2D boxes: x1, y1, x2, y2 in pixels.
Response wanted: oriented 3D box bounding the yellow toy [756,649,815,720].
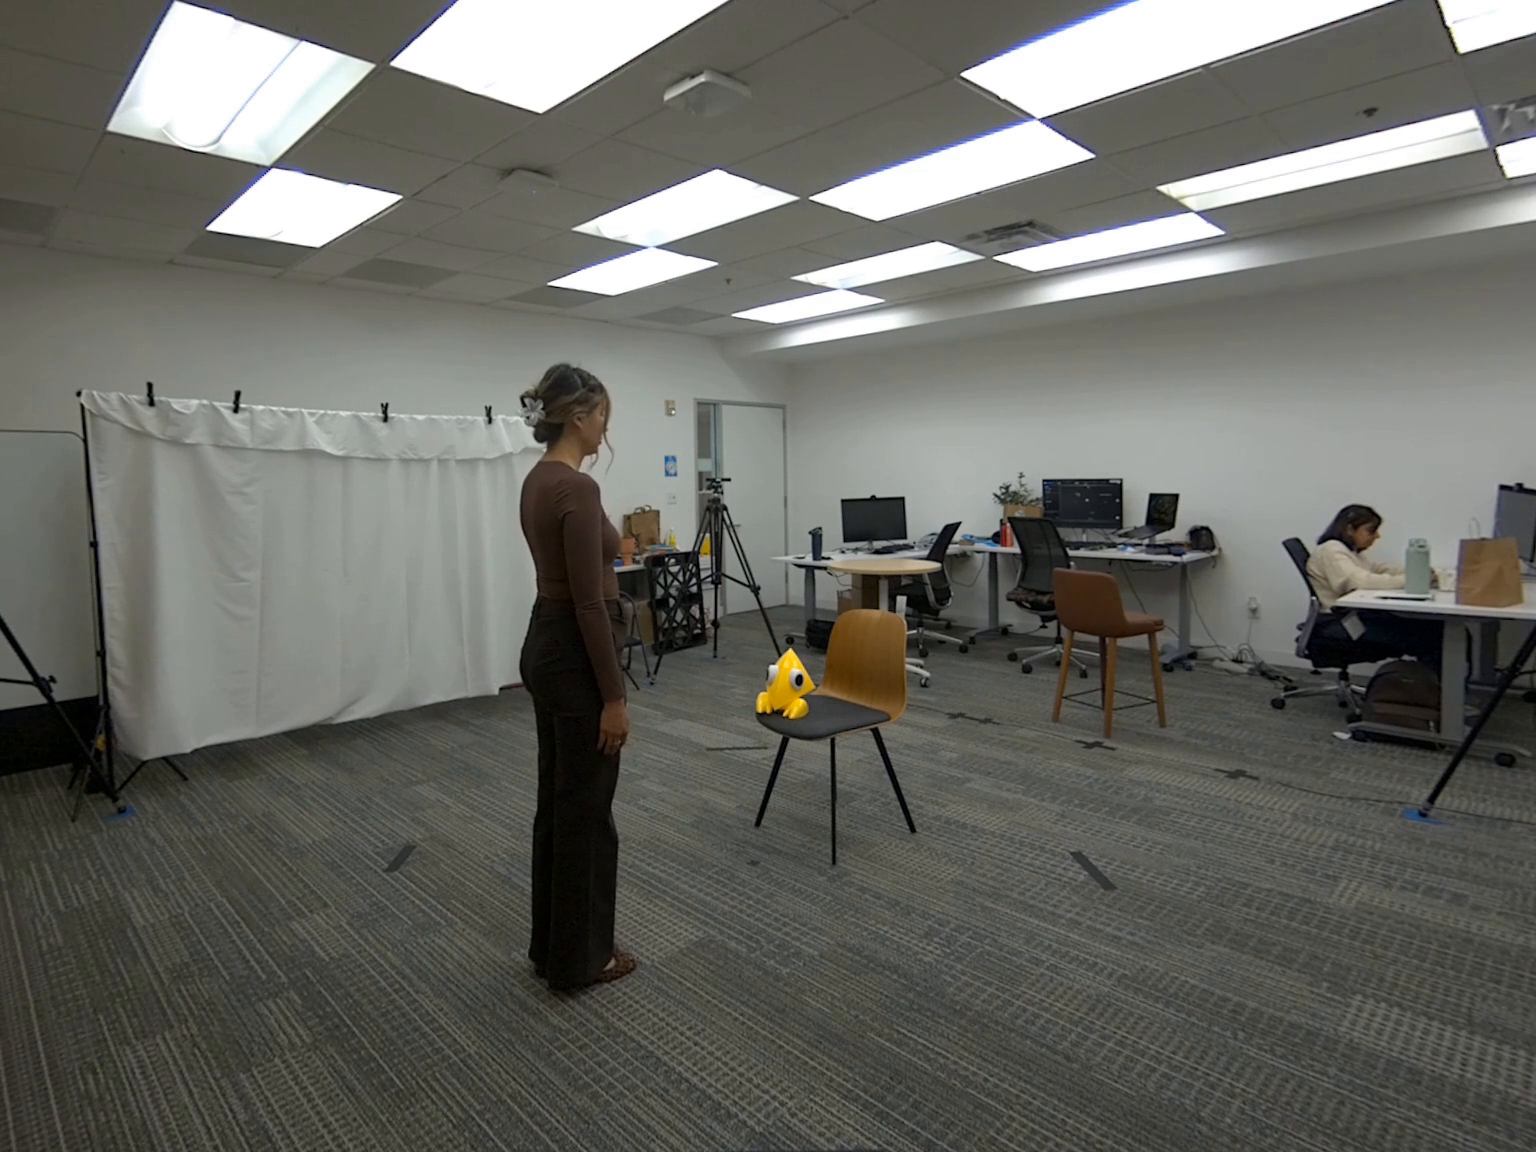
[{"bbox_3d":[0.063,0.413,3.344,0.209,0.229,0.190,6,8,21],"label":"yellow toy"}]
